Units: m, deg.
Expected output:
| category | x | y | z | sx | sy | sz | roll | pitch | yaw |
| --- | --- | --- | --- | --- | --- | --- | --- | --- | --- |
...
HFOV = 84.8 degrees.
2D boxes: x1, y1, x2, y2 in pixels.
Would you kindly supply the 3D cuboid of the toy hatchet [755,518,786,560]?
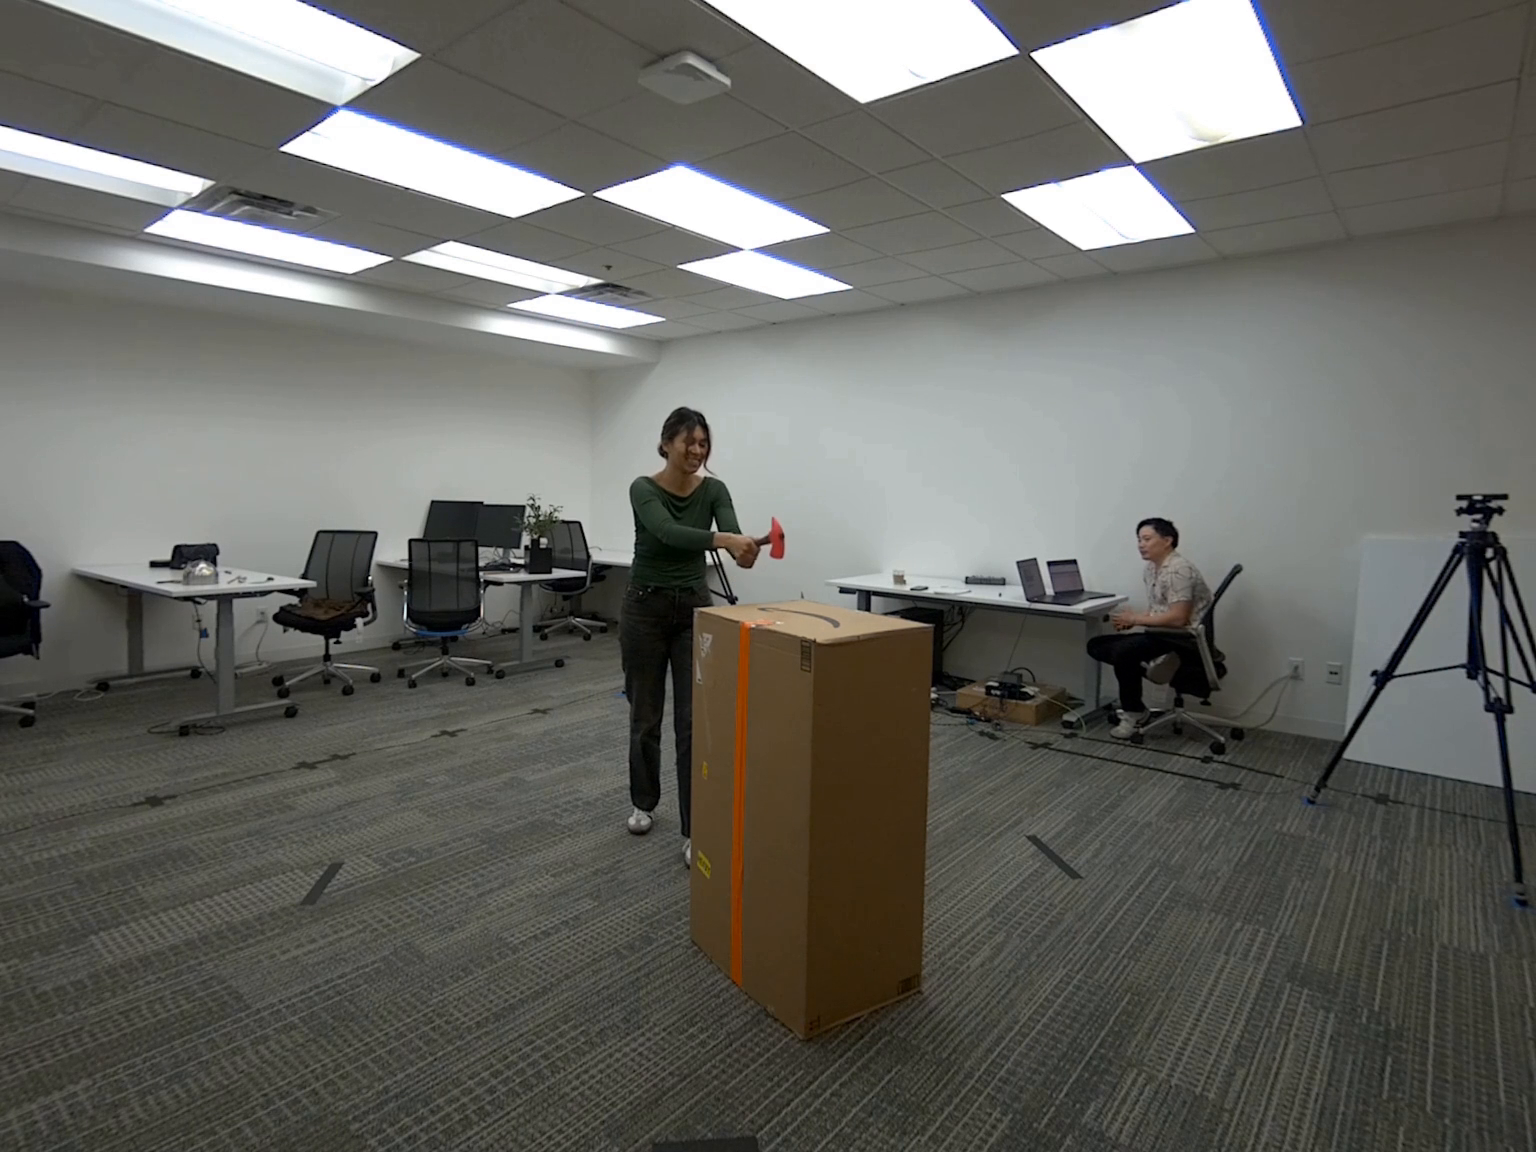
| category | x | y | z | sx | sy | sz | roll | pitch | yaw |
| --- | --- | --- | --- | --- | --- | --- | --- | --- | --- |
| toy hatchet | -0.028 | -0.075 | 2.738 | 0.029 | 0.134 | 0.270 | -9 | -24 | -37 |
